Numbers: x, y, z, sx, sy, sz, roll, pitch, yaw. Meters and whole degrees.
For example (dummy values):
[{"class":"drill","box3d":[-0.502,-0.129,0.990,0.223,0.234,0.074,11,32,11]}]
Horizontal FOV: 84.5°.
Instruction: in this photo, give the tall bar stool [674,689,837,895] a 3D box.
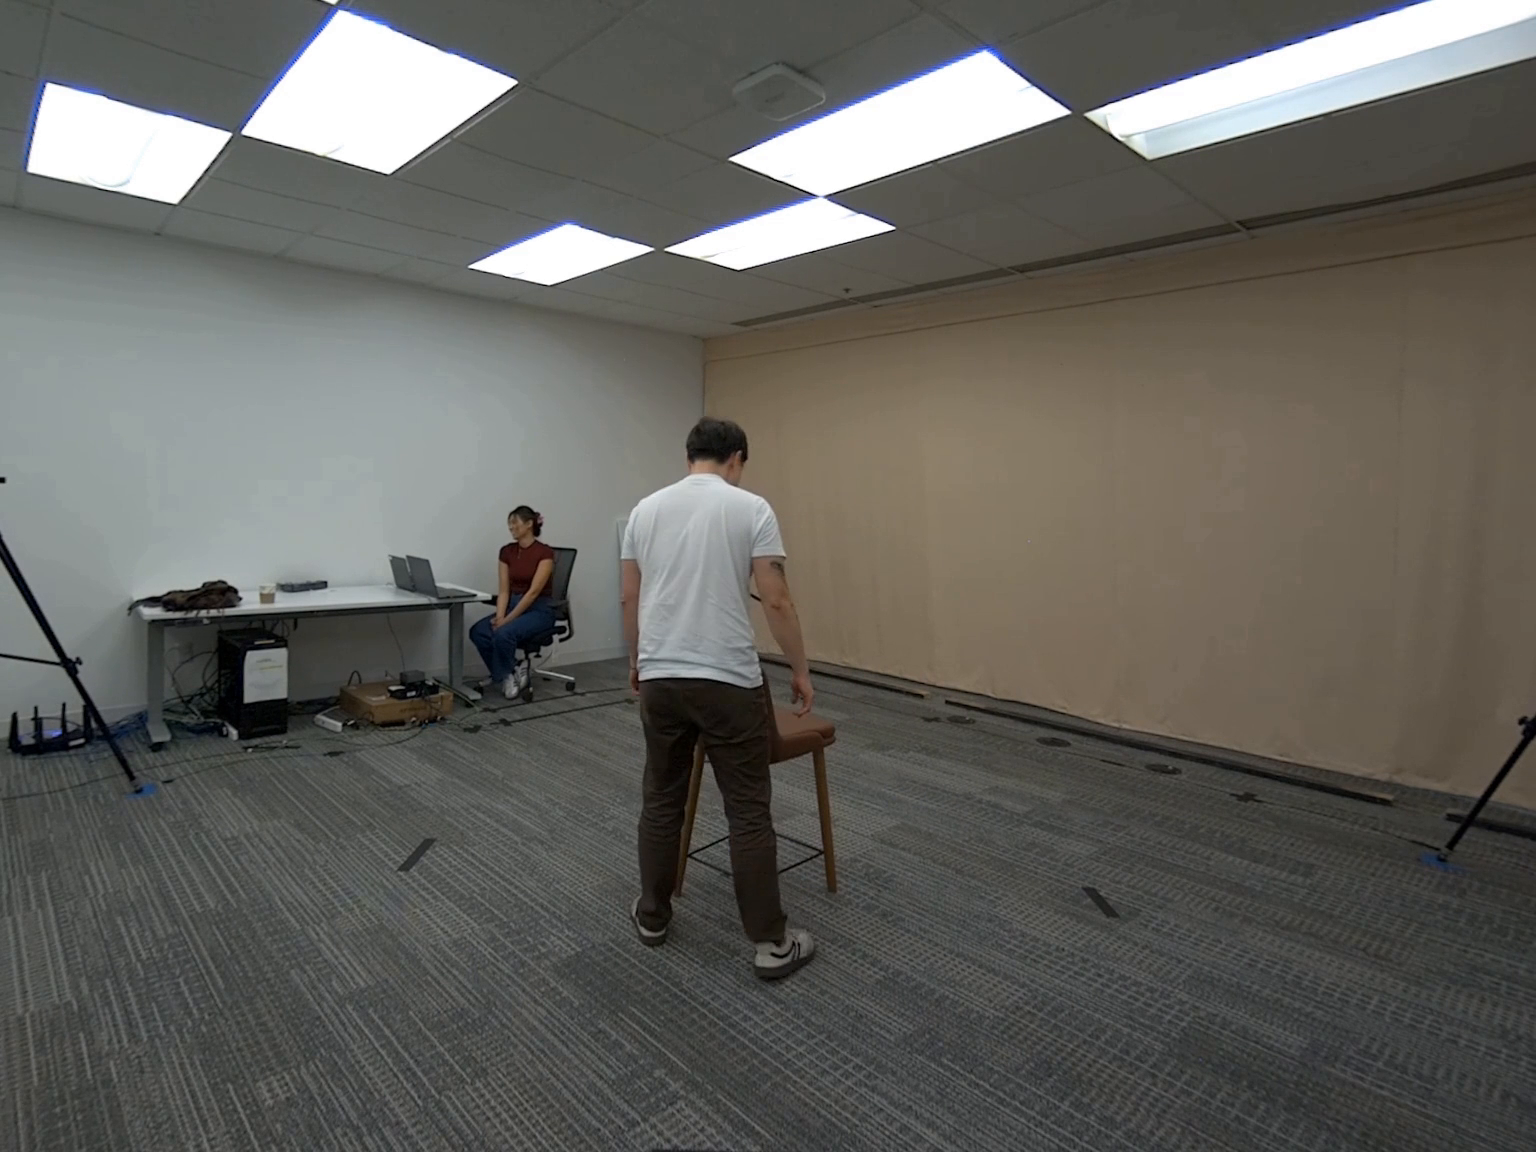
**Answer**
[{"class":"tall bar stool","box3d":[-0.053,0.683,2.940,0.468,0.886,0.457,4,7,43]}]
